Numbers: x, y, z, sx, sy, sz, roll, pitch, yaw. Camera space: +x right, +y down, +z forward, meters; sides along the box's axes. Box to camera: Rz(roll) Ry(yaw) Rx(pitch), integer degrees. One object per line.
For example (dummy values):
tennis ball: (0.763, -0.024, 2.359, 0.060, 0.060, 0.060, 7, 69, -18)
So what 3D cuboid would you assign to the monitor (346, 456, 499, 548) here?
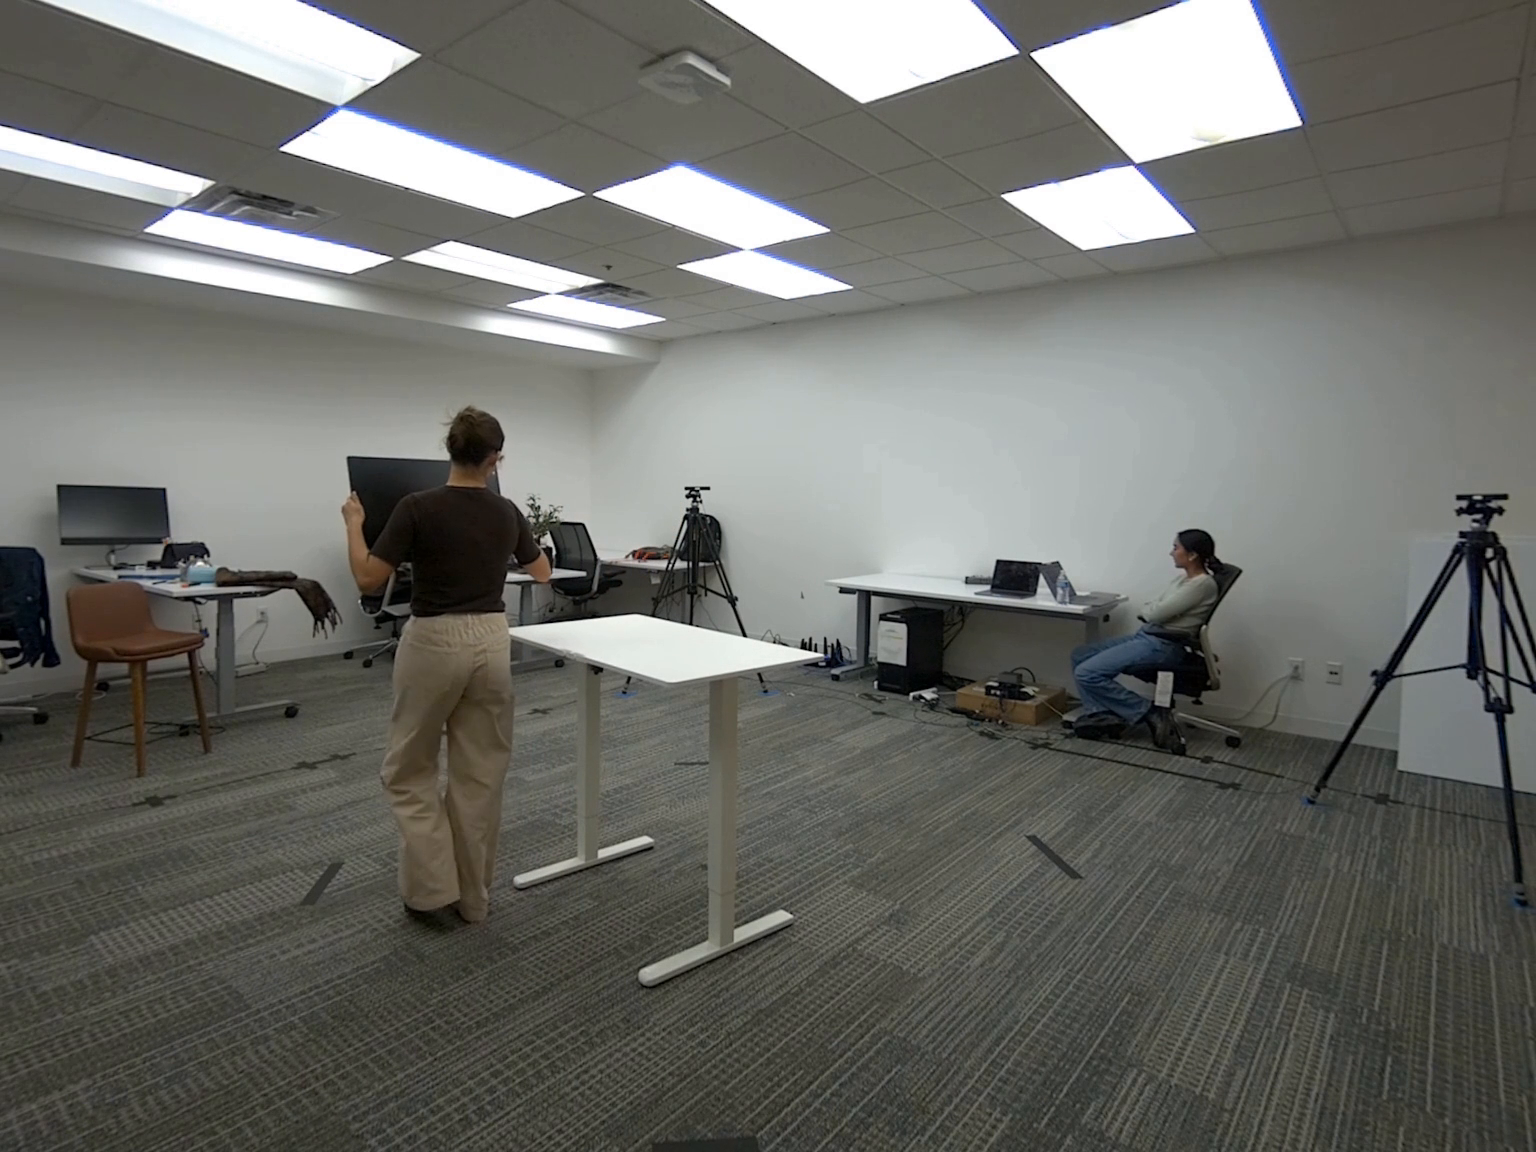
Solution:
monitor: (-1.158, -0.134, 2.886, 0.193, 0.521, 0.523, 3, 3, 39)
